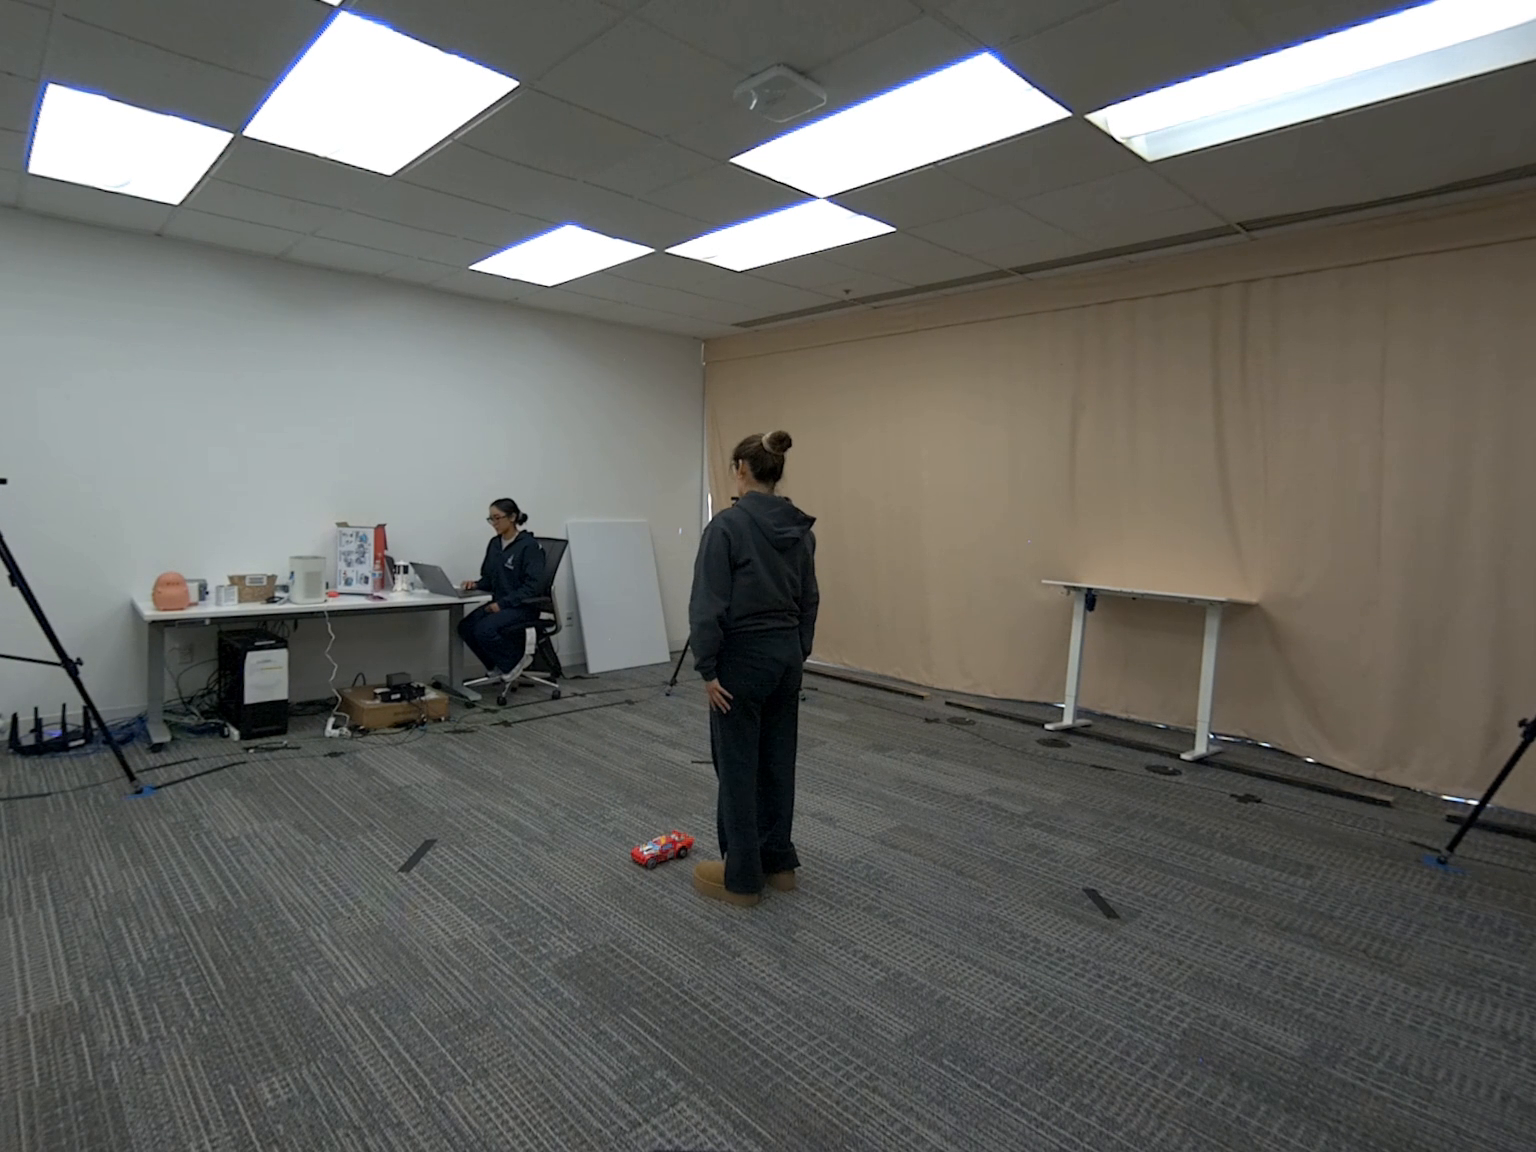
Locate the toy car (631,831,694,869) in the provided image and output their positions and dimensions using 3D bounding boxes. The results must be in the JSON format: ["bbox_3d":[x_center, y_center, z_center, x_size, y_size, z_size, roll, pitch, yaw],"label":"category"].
[{"bbox_3d":[-0.411,1.053,3.257,0.250,0.082,0.133,-18,16,-38],"label":"toy car"}]
